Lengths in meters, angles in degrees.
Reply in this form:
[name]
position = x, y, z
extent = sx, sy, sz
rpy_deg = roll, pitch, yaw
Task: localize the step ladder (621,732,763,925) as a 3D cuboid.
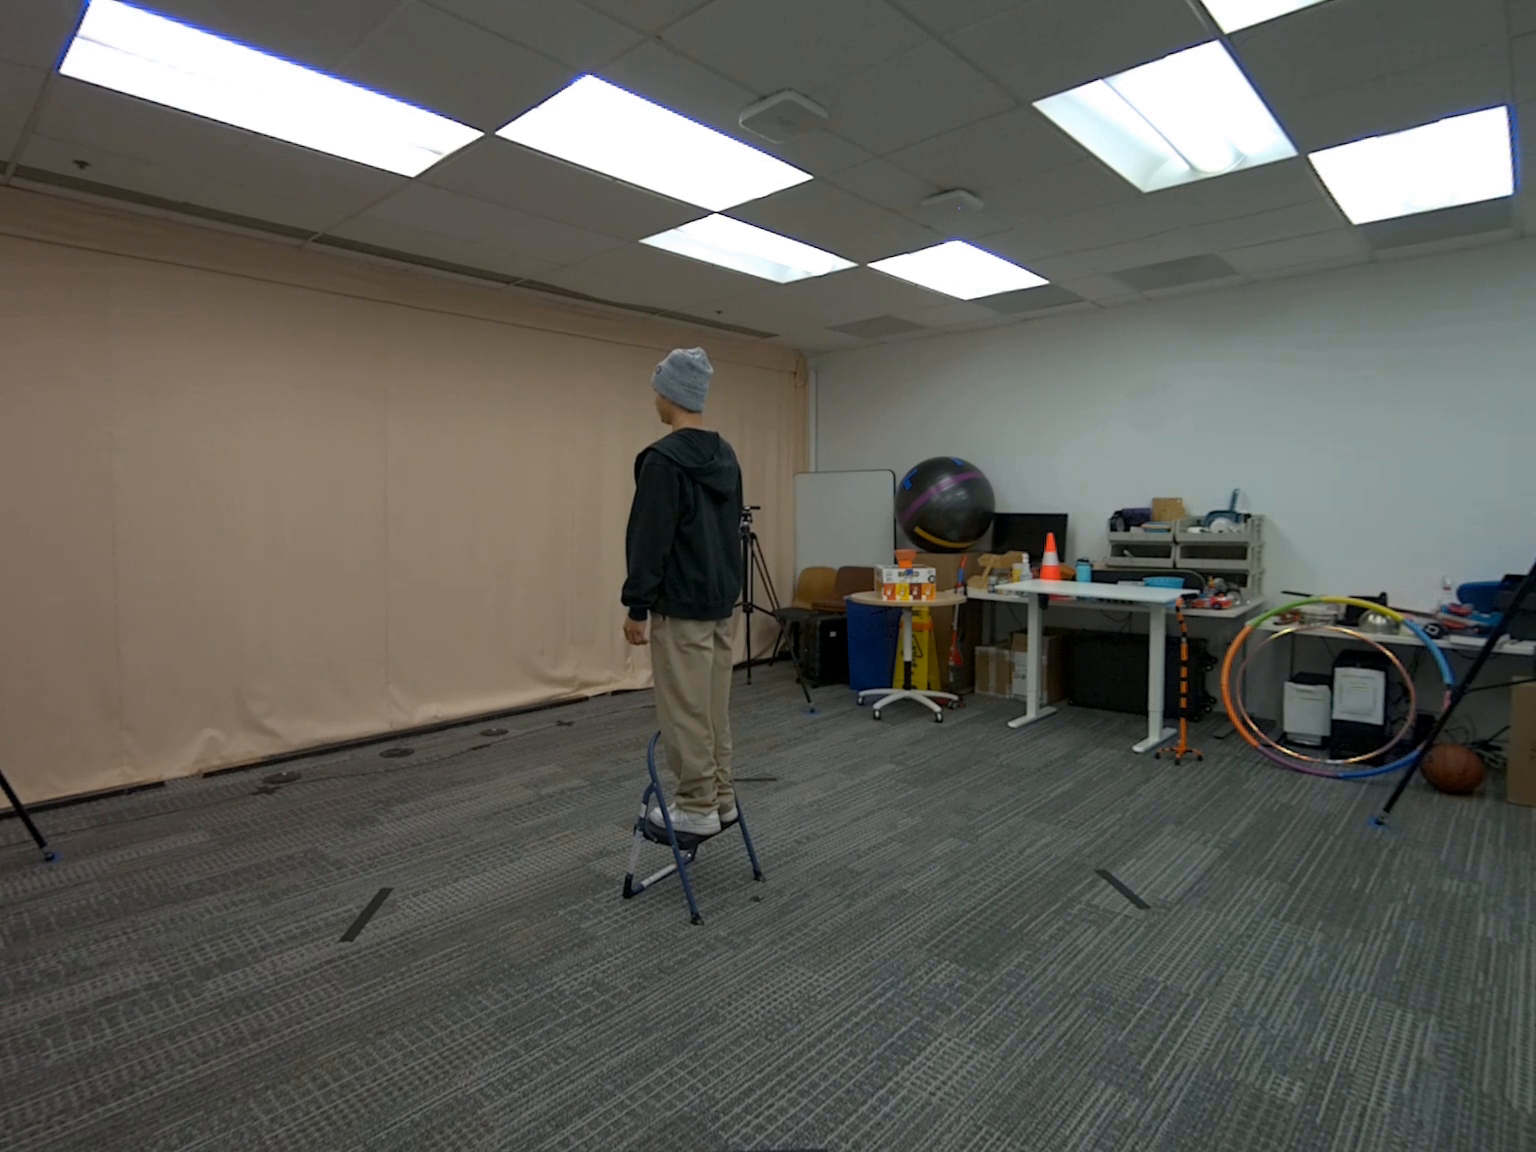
[step ladder]
position = -0.268, 0.838, 3.056
extent = 0.360, 0.605, 0.419
rpy_deg = 1, 4, 33
